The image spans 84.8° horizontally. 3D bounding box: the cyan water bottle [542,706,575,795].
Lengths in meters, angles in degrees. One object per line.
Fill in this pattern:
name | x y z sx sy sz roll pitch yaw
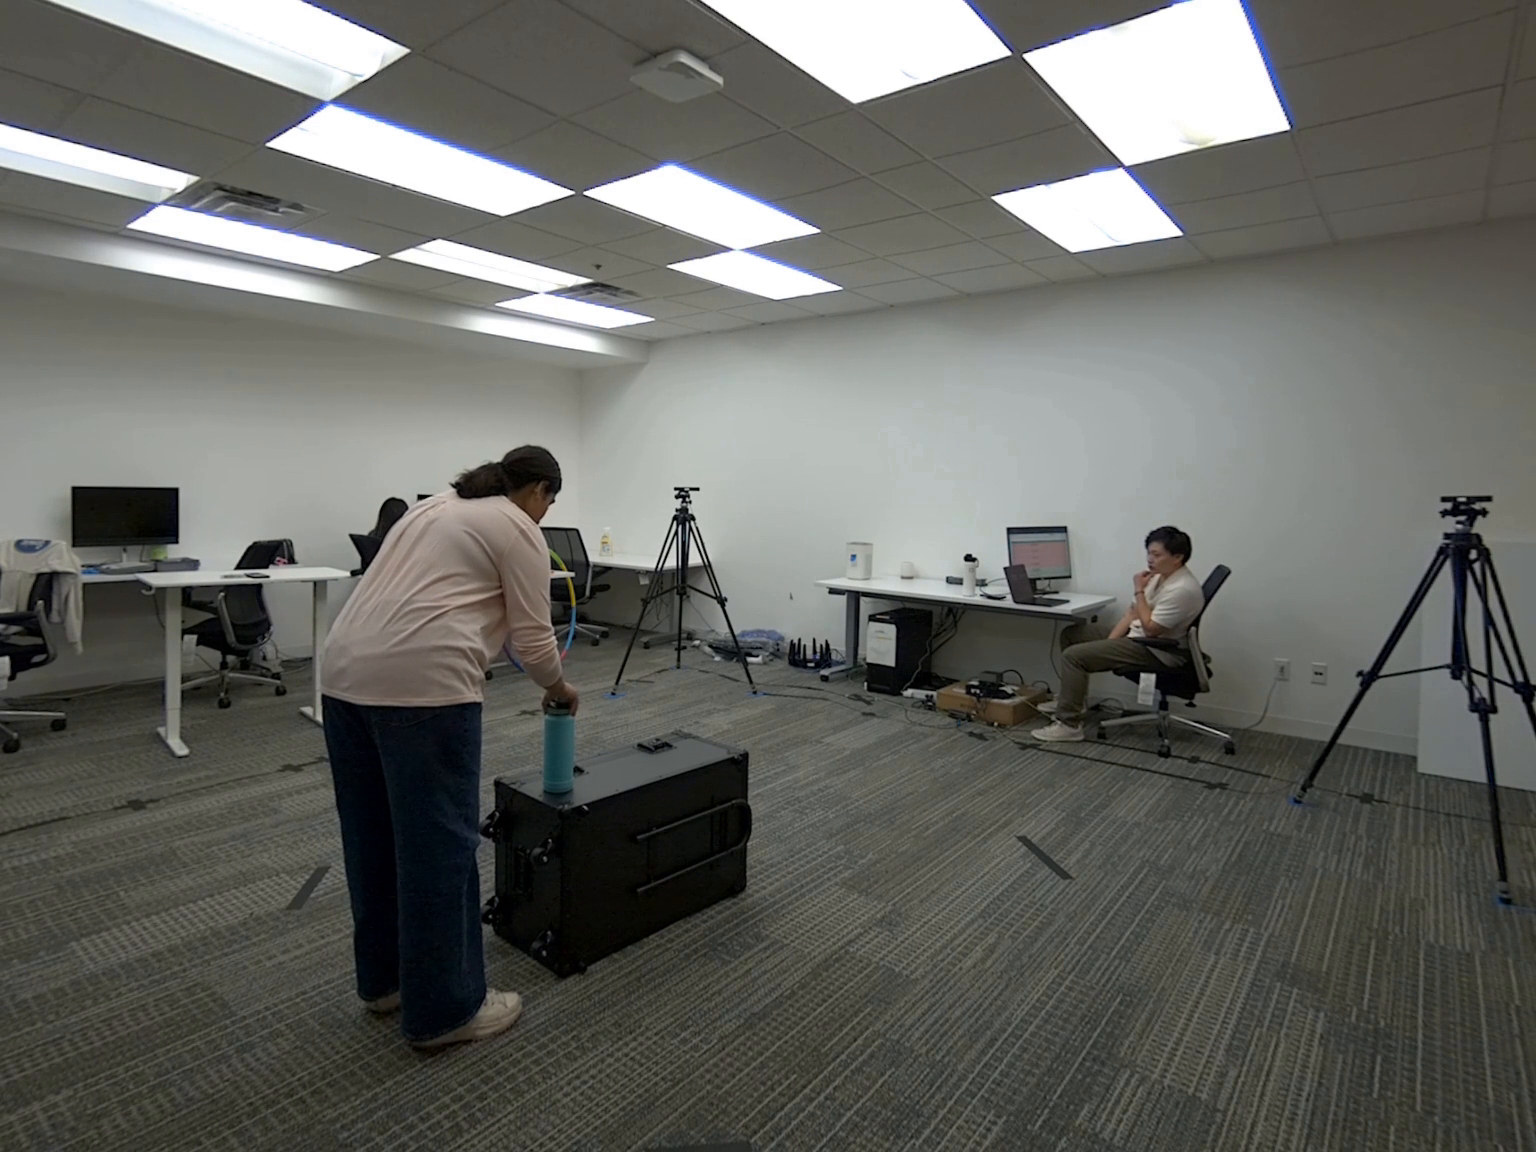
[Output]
cyan water bottle | -0.638 0.497 2.540 0.092 0.282 0.093 -1 5 -2
